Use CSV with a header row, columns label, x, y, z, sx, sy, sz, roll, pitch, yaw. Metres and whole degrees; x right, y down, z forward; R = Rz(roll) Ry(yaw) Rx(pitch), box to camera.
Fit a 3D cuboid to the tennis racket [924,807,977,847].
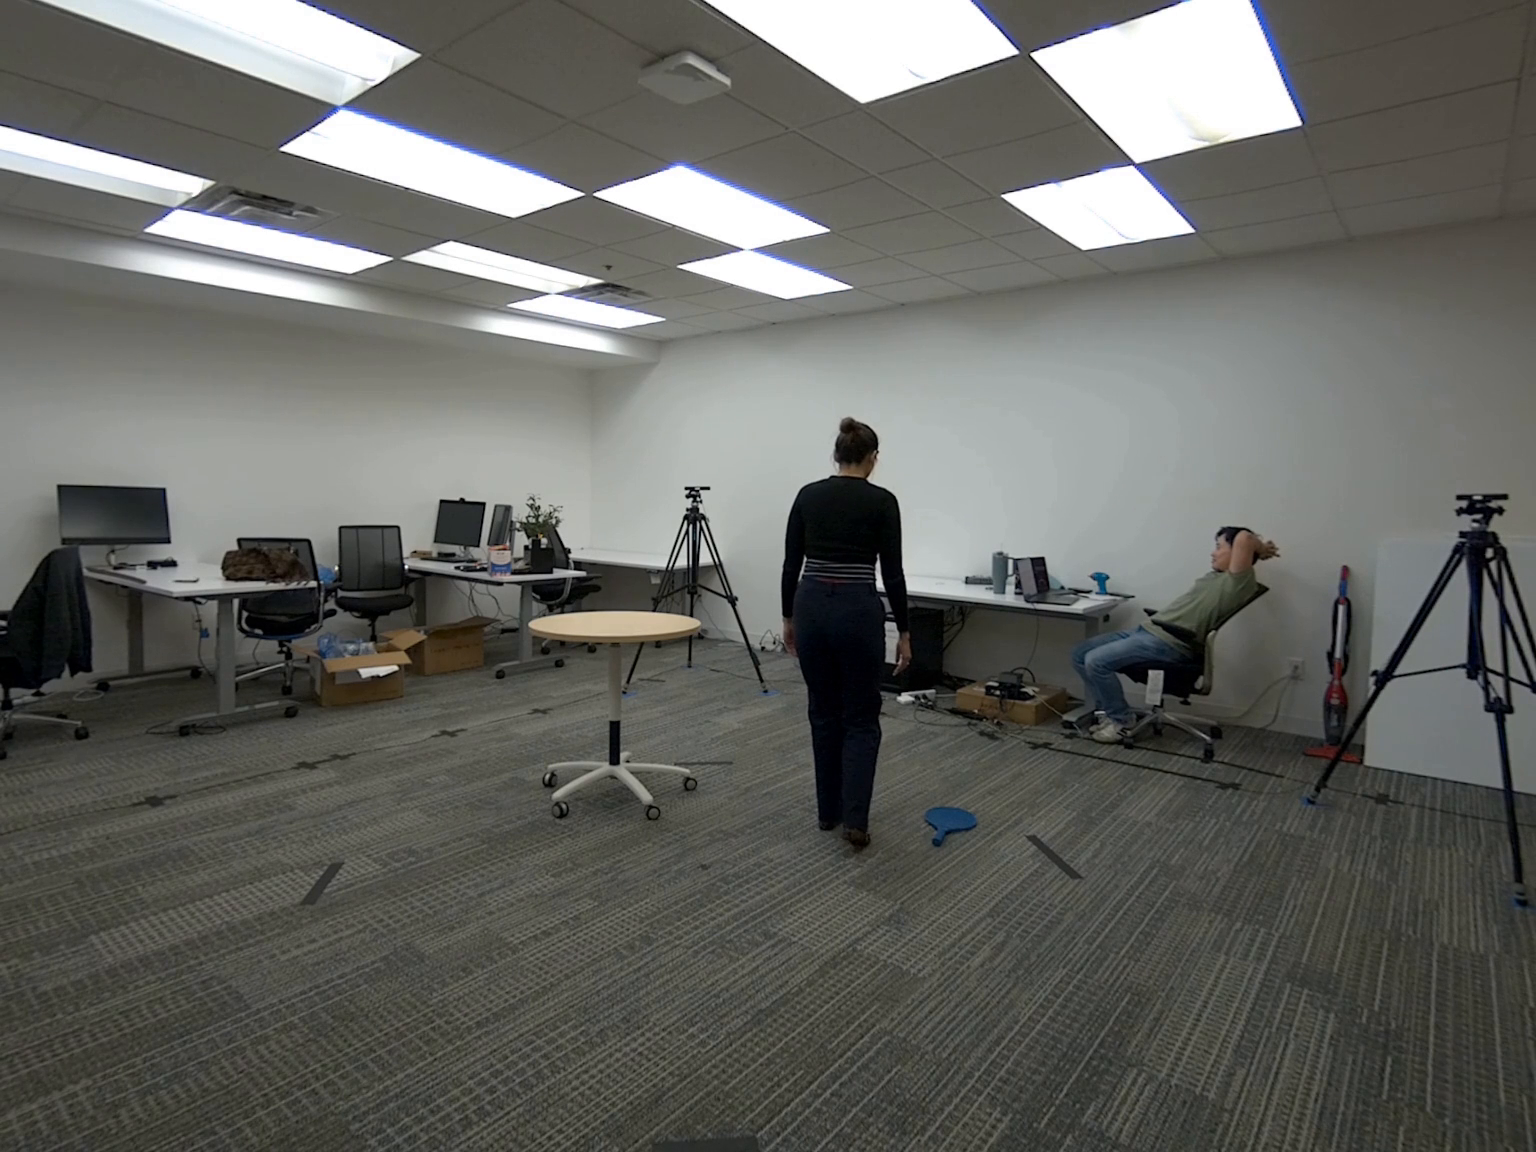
label,x,y,z,sx,sy,sz,roll,pitch,yaw
tennis racket,0.737,1.030,3.534,0.219,0.031,0.424,5,6,22
